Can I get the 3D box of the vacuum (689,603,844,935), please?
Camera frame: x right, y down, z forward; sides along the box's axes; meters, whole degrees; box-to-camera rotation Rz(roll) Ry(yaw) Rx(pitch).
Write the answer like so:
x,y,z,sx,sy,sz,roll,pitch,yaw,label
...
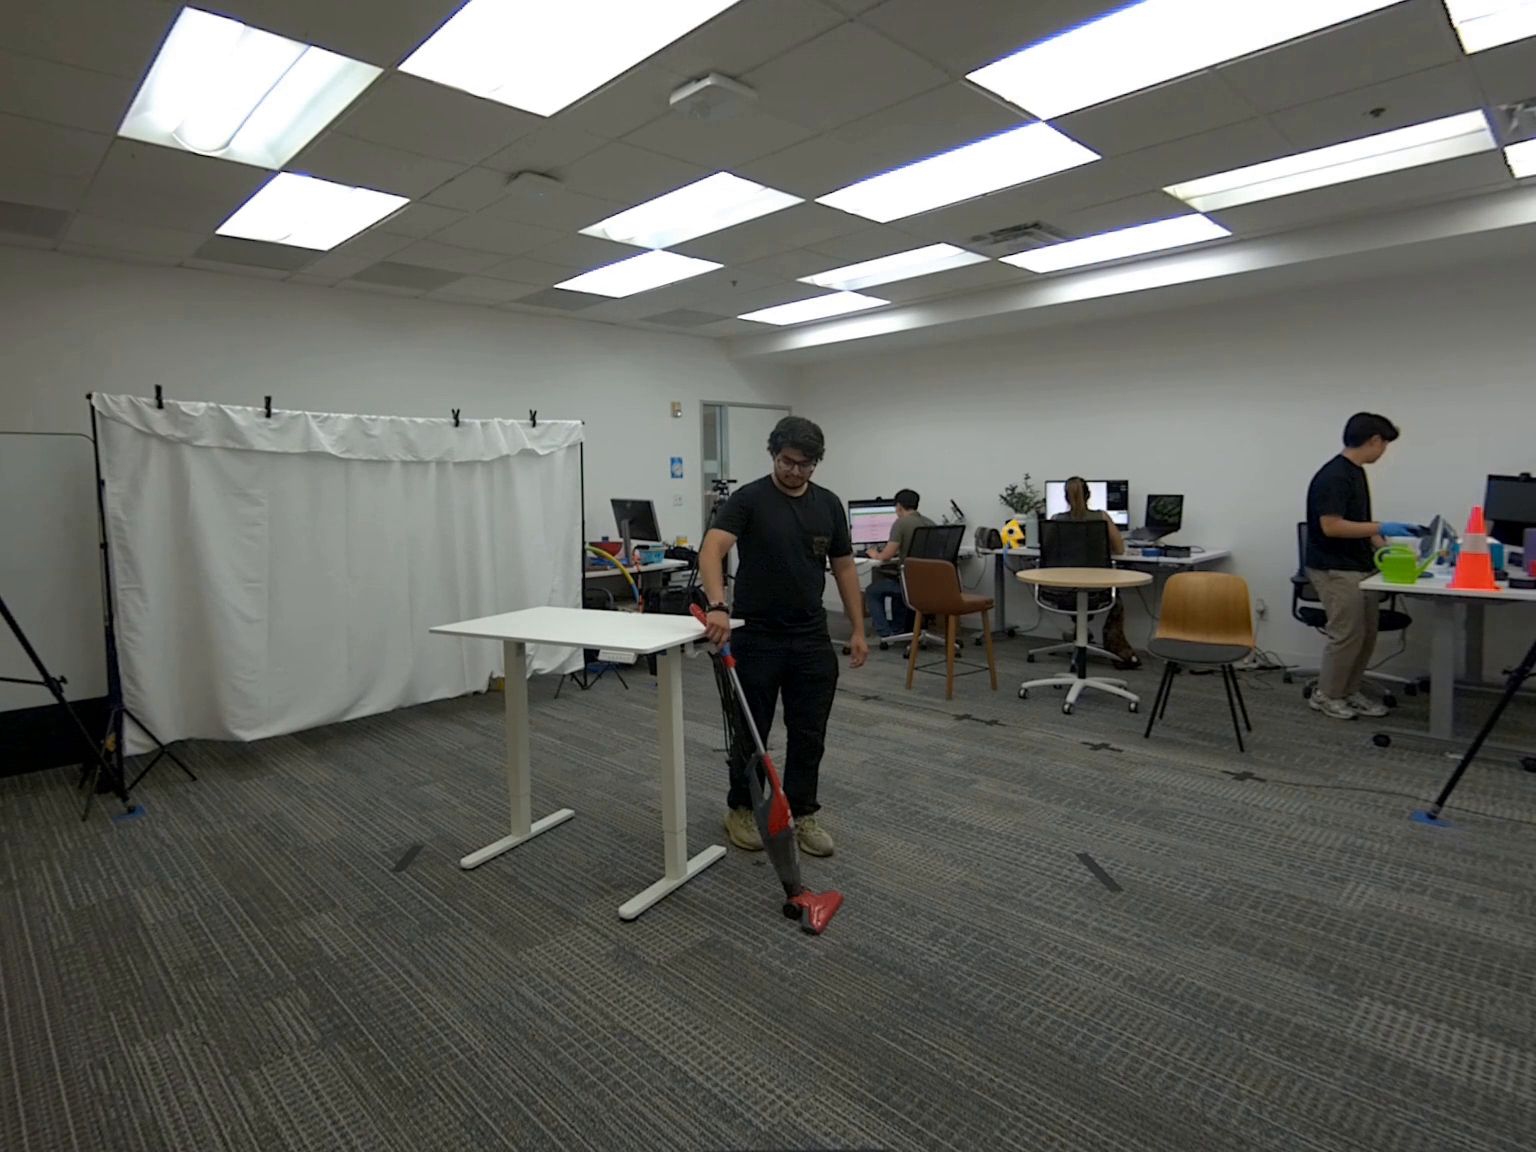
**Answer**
x,y,z,sx,sy,sz,roll,pitch,yaw,label
-0.041,0.603,2.811,0.146,1.058,0.247,-24,-8,25,vacuum
